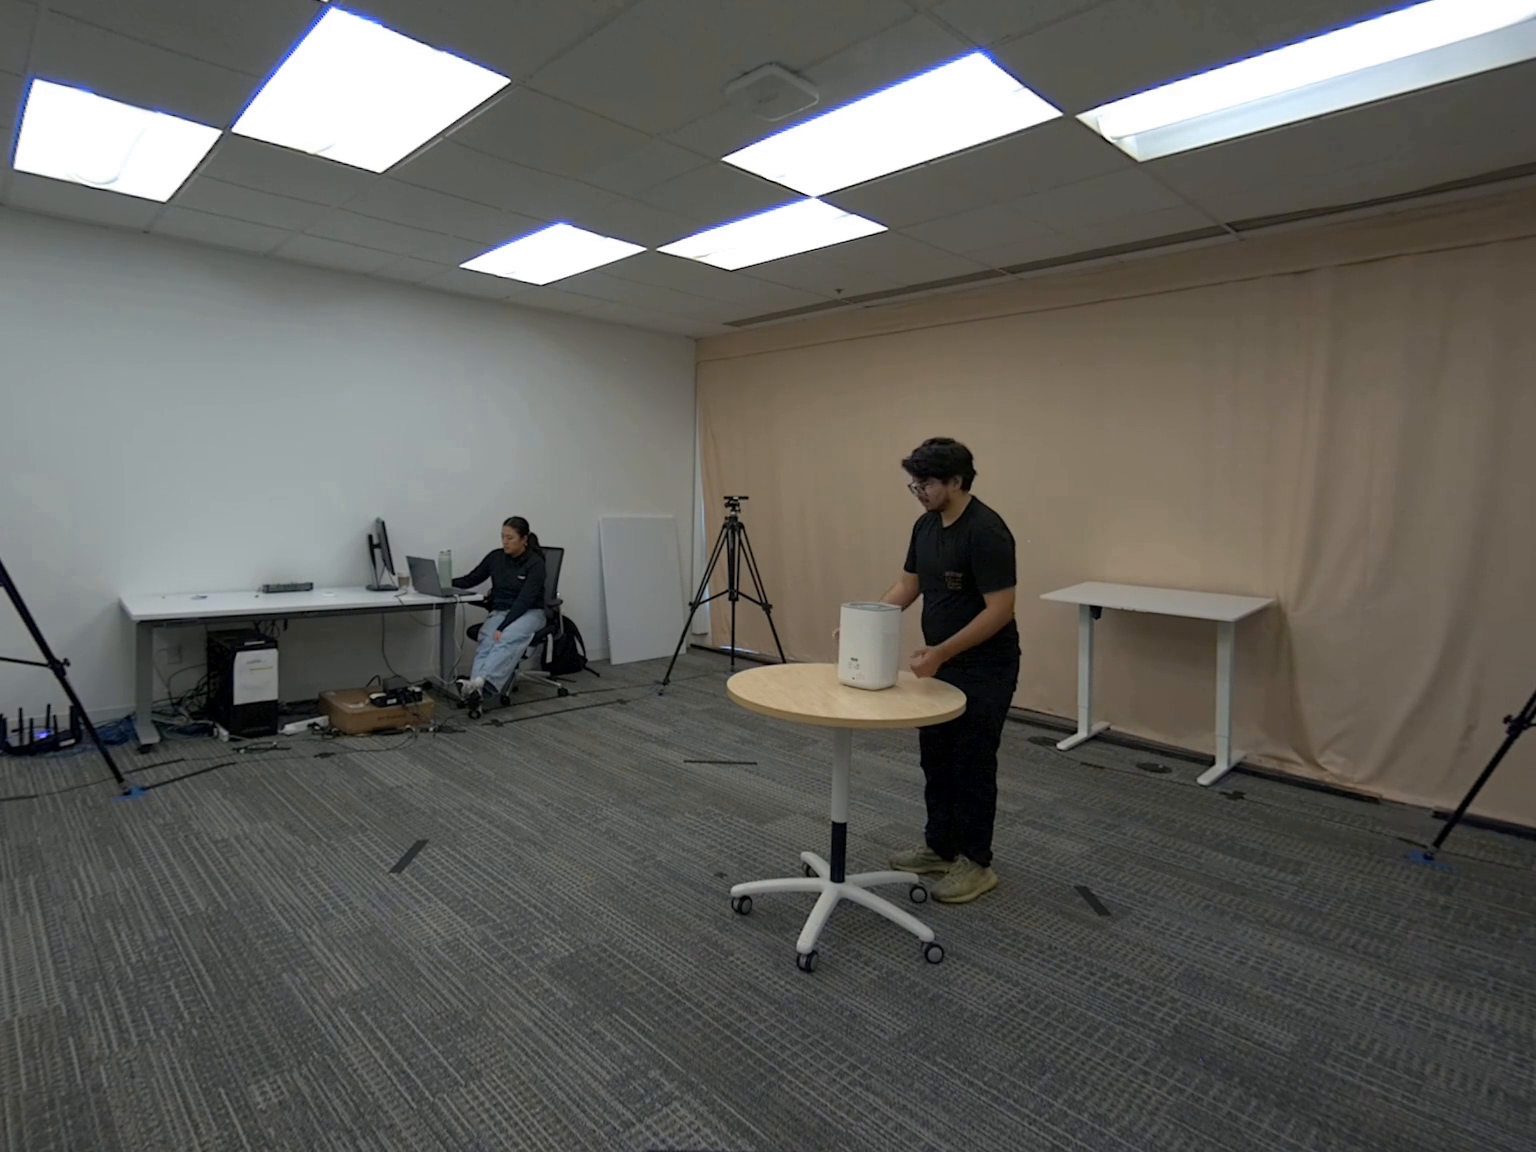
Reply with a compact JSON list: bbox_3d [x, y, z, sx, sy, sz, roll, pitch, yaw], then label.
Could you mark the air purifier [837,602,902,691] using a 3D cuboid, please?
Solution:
[{"bbox_3d":[0.331,0.229,2.761,0.172,0.261,0.170,8,9,41],"label":"air purifier"}]
